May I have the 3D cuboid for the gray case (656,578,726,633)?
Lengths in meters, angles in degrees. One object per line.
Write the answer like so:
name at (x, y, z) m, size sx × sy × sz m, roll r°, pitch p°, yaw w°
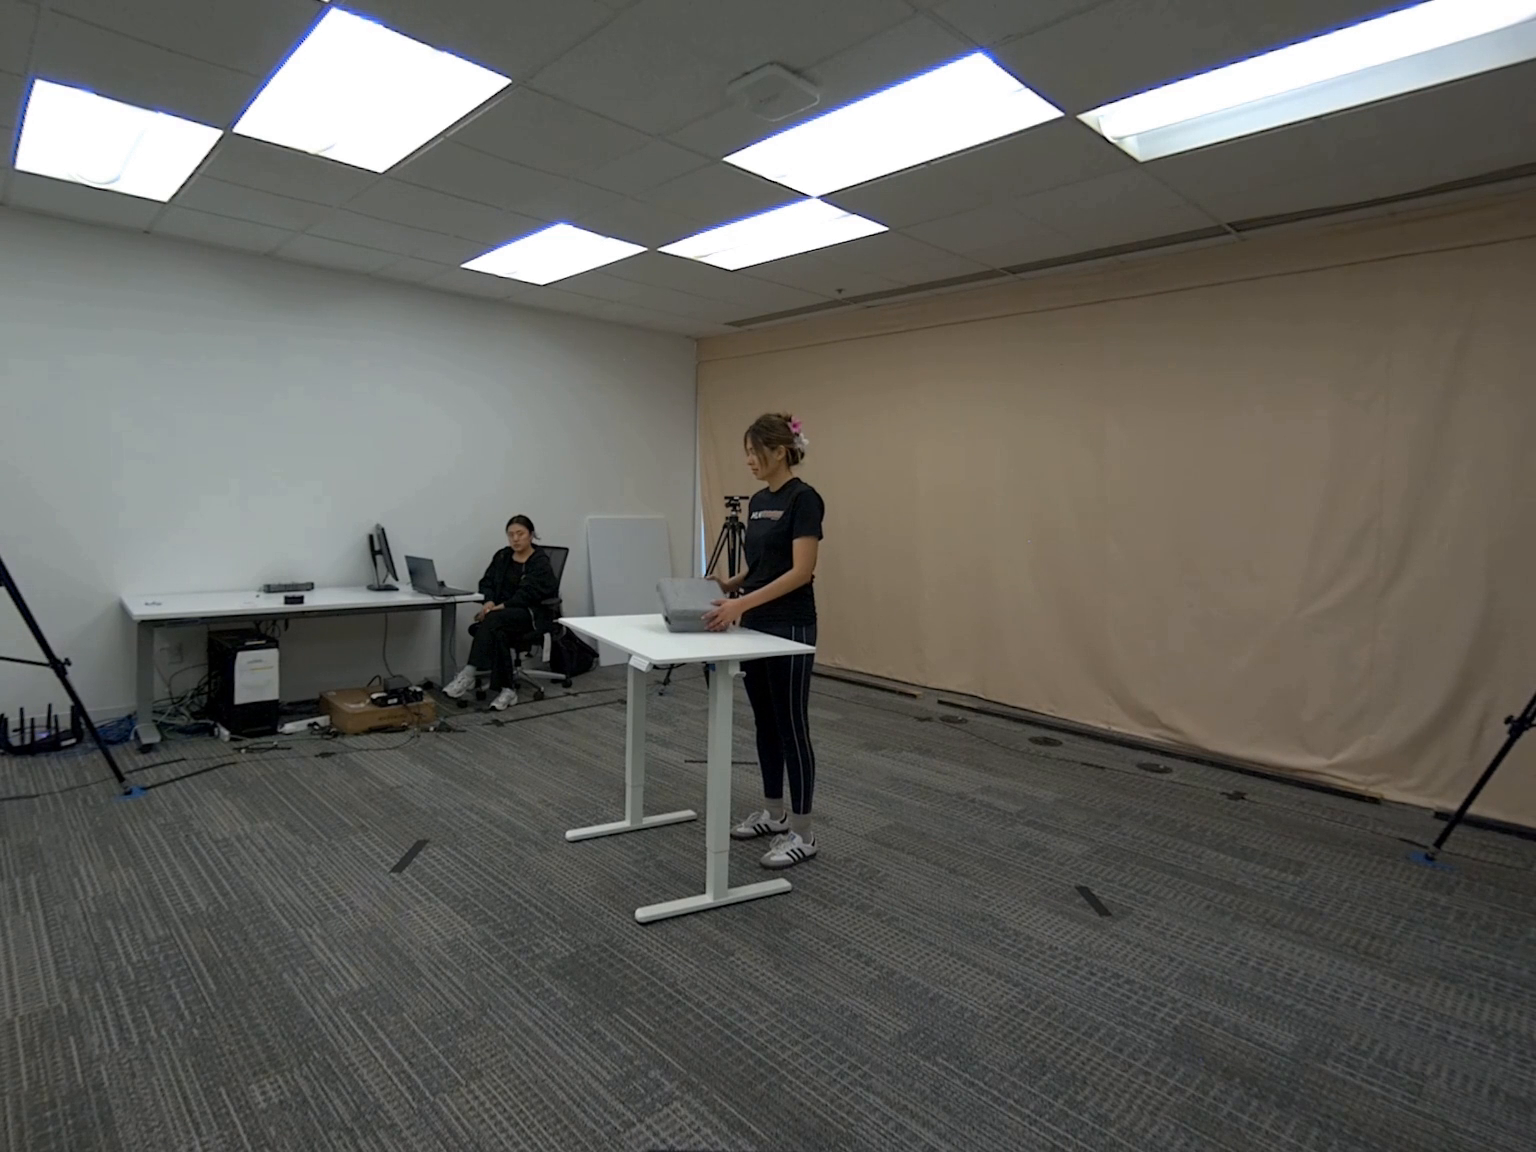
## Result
gray case at (-0.289, 0.113, 3.238) m, size 0.257 × 0.103 × 0.264 m, roll 3°, pitch 28°, yaw -18°
